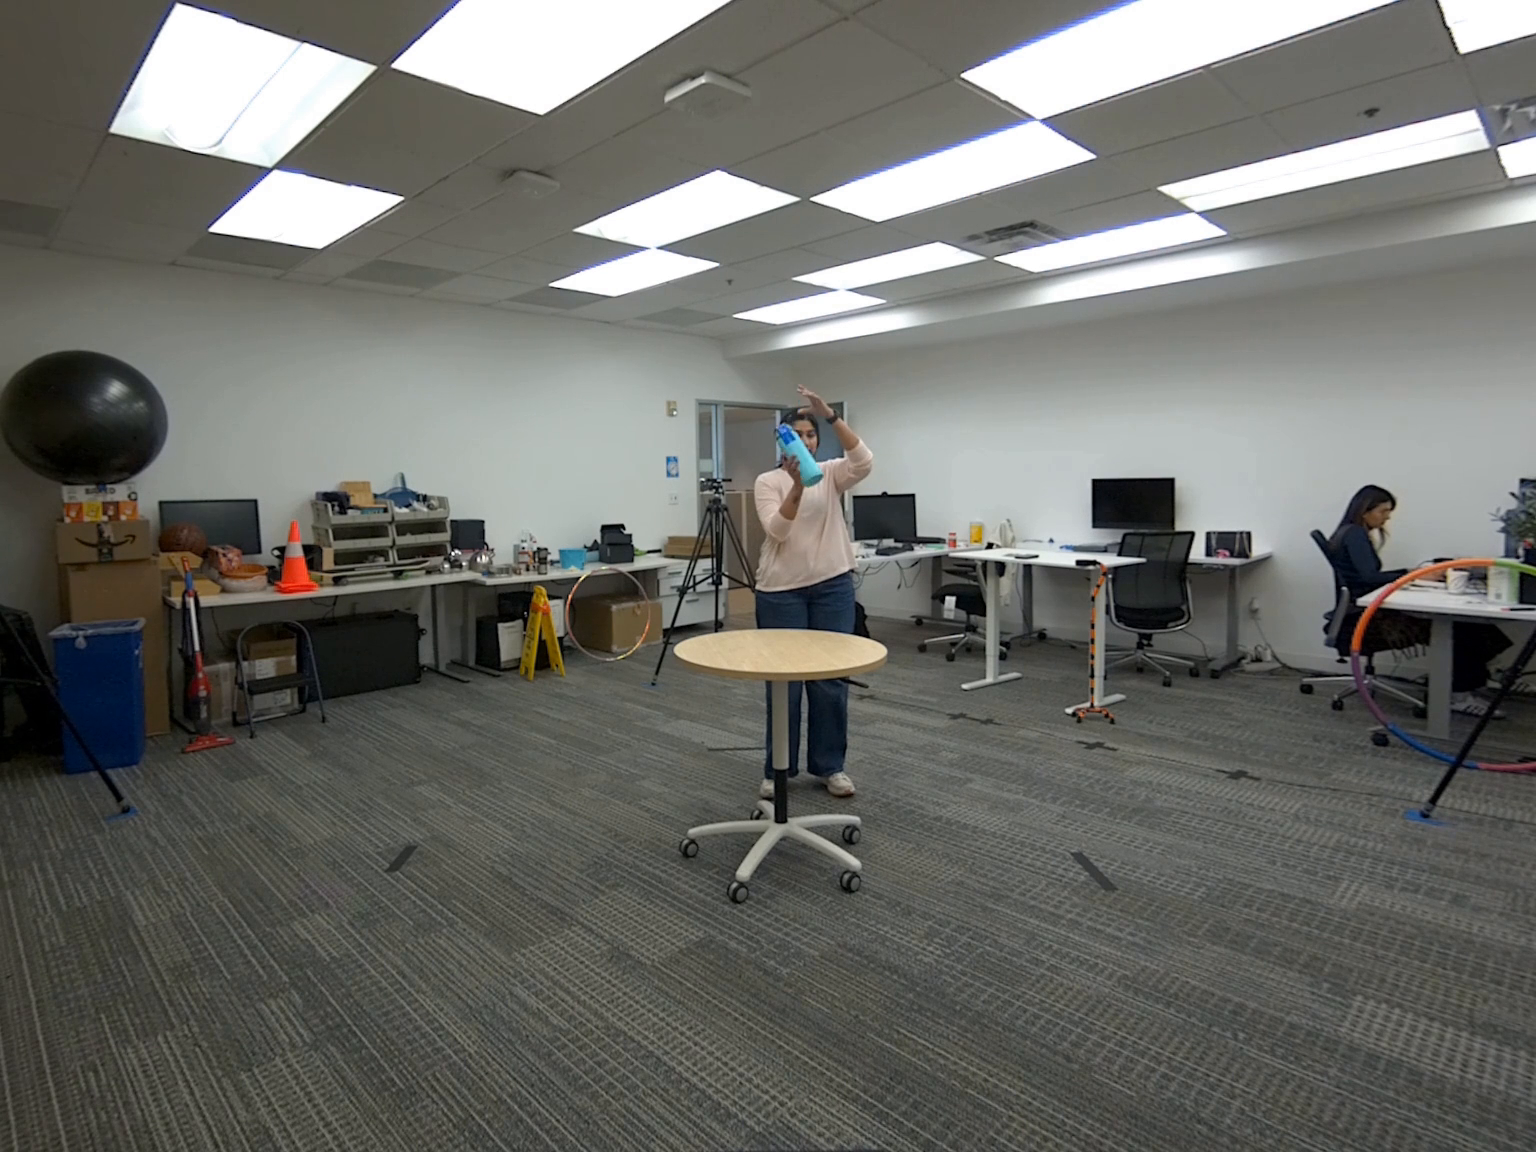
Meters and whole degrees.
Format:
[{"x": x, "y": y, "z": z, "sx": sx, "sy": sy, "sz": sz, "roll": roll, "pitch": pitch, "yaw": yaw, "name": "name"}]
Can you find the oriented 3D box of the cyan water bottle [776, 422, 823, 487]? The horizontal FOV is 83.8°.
[{"x": 0.127, "y": -0.495, "z": 3.411, "sx": 0.092, "sy": 0.290, "sz": 0.090, "roll": -24, "pitch": -21, "yaw": -11, "name": "cyan water bottle"}]
